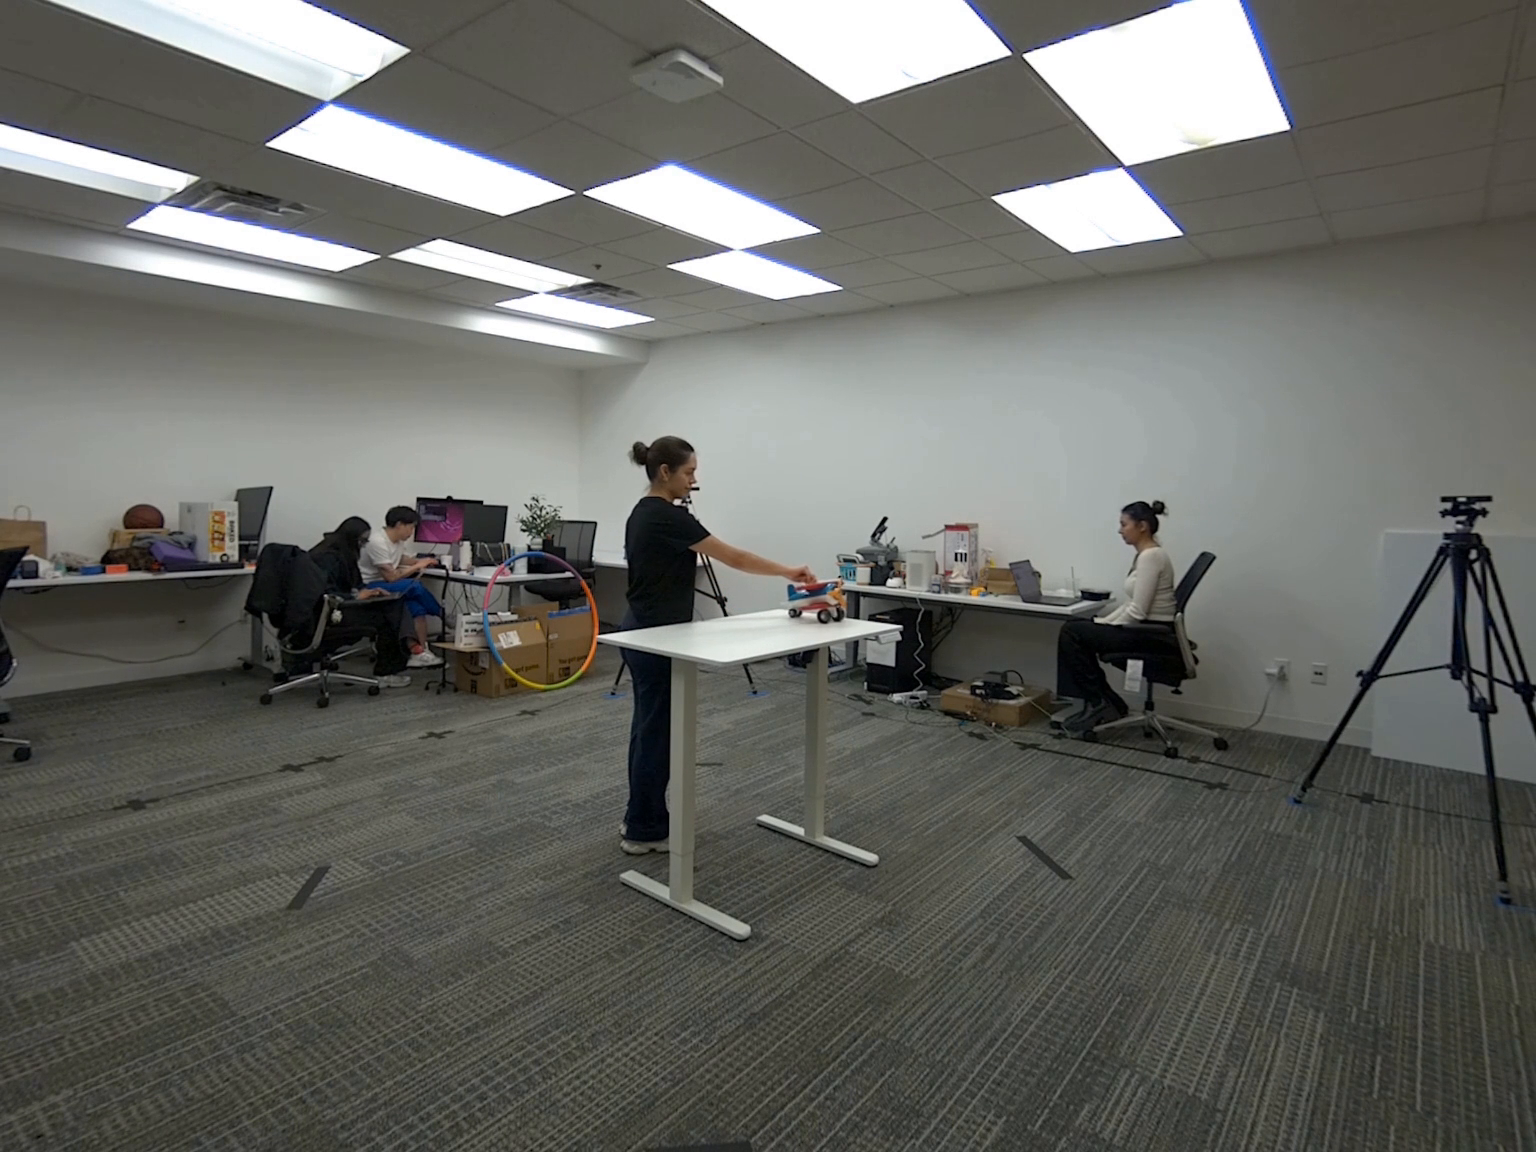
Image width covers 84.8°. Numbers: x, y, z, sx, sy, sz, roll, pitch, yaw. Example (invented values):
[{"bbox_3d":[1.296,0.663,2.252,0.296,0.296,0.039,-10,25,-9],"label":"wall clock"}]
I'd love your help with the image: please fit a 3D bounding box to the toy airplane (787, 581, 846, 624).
[{"bbox_3d":[0.176,0.092,3.324,0.264,0.156,0.248,2,5,15],"label":"toy airplane"}]
